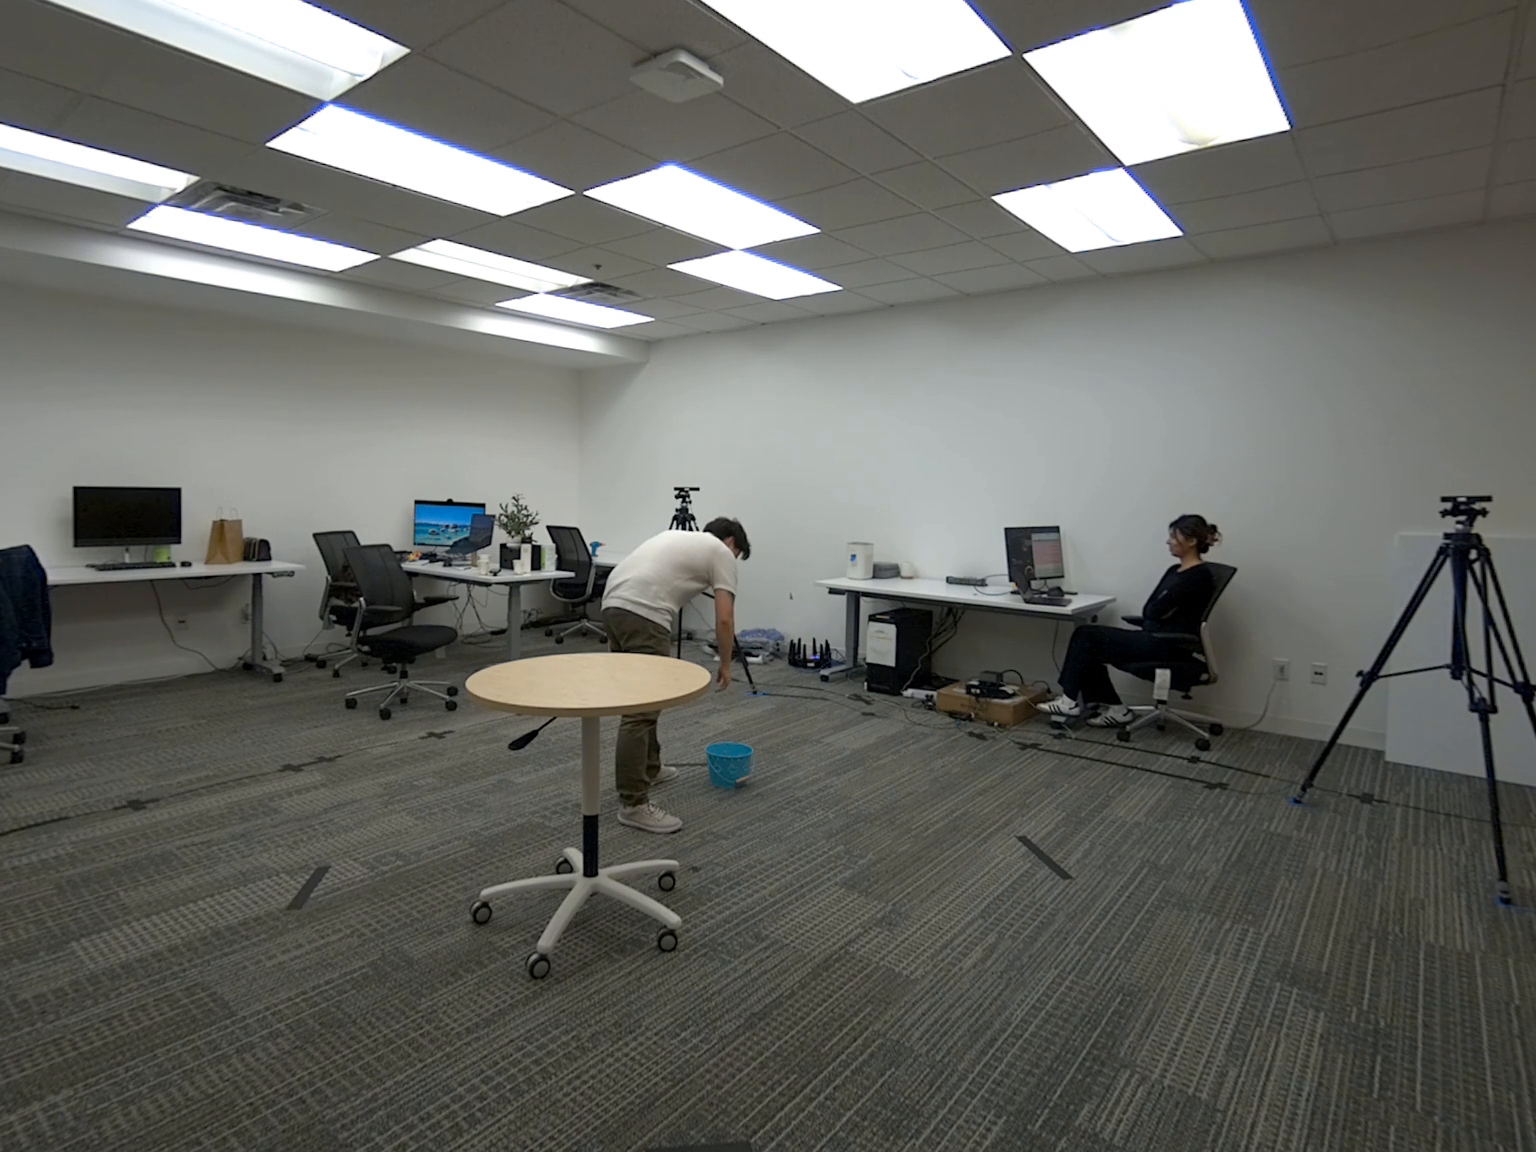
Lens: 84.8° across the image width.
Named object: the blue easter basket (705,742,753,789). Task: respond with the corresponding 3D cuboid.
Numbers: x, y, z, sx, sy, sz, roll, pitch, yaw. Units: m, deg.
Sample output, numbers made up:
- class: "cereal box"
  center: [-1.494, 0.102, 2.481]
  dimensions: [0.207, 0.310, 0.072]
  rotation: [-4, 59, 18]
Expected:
- class: "blue easter basket"
  center: [-0.200, 0.899, 4.051]
  dimensions: [0.243, 0.155, 0.245]
  rotation: [0, 5, -2]
